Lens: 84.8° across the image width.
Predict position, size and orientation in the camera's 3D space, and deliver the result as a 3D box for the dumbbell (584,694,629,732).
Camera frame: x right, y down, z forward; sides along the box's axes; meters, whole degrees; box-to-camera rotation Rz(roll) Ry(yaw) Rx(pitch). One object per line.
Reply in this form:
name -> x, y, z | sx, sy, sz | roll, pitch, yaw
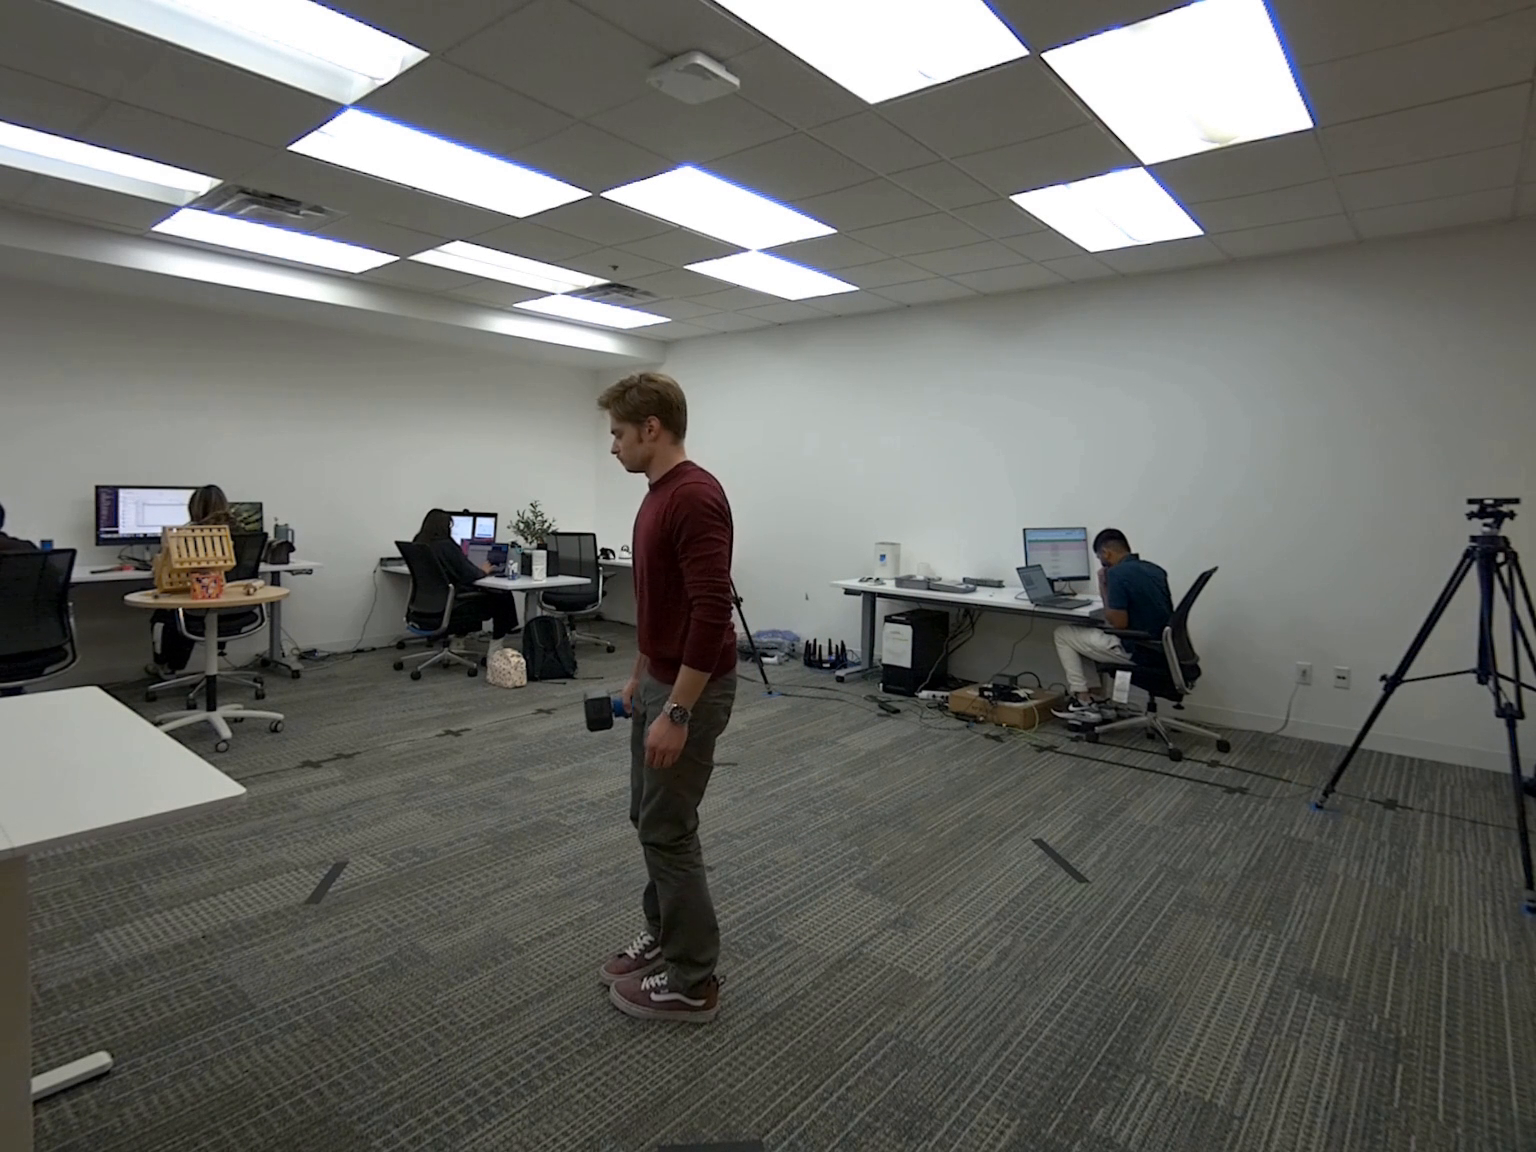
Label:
dumbbell -> -0.419, 0.390, 2.568 | 0.290, 0.126, 0.107 | -5, -22, -11
